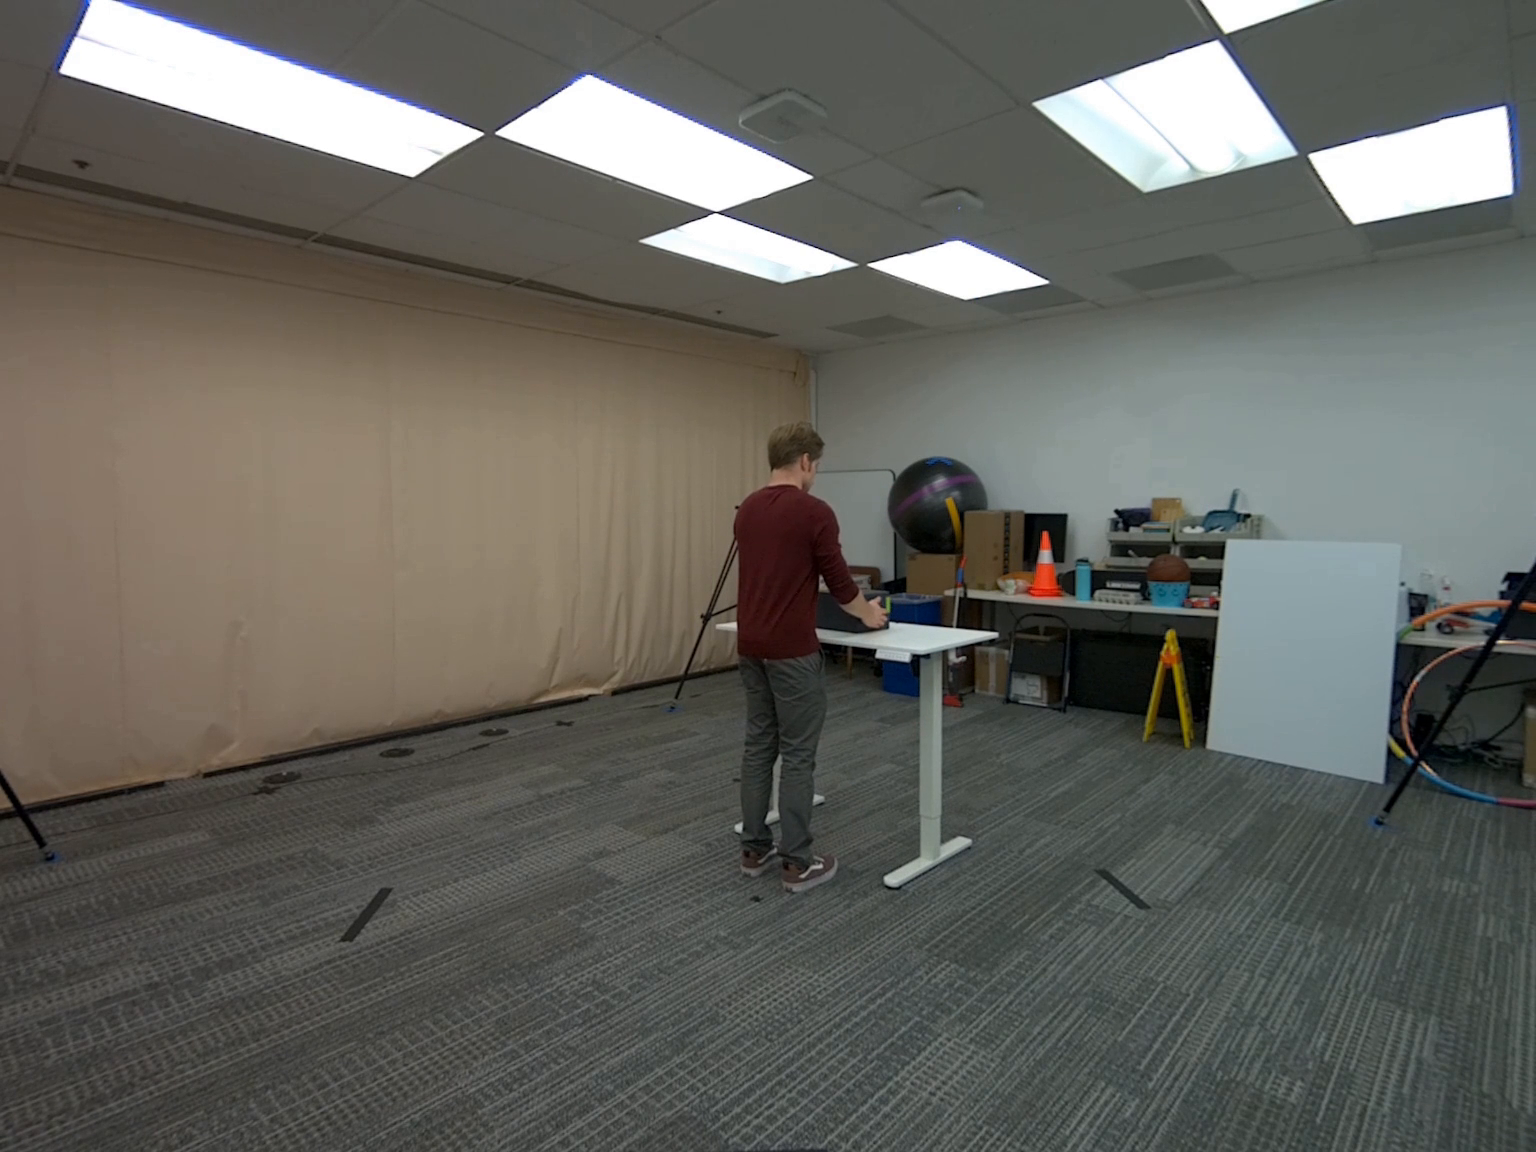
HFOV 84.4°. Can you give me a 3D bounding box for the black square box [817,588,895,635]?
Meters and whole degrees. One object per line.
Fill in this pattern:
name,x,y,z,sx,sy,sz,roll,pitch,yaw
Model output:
black square box,0.357,0.140,3.497,0.210,0.155,0.235,-3,4,-37
